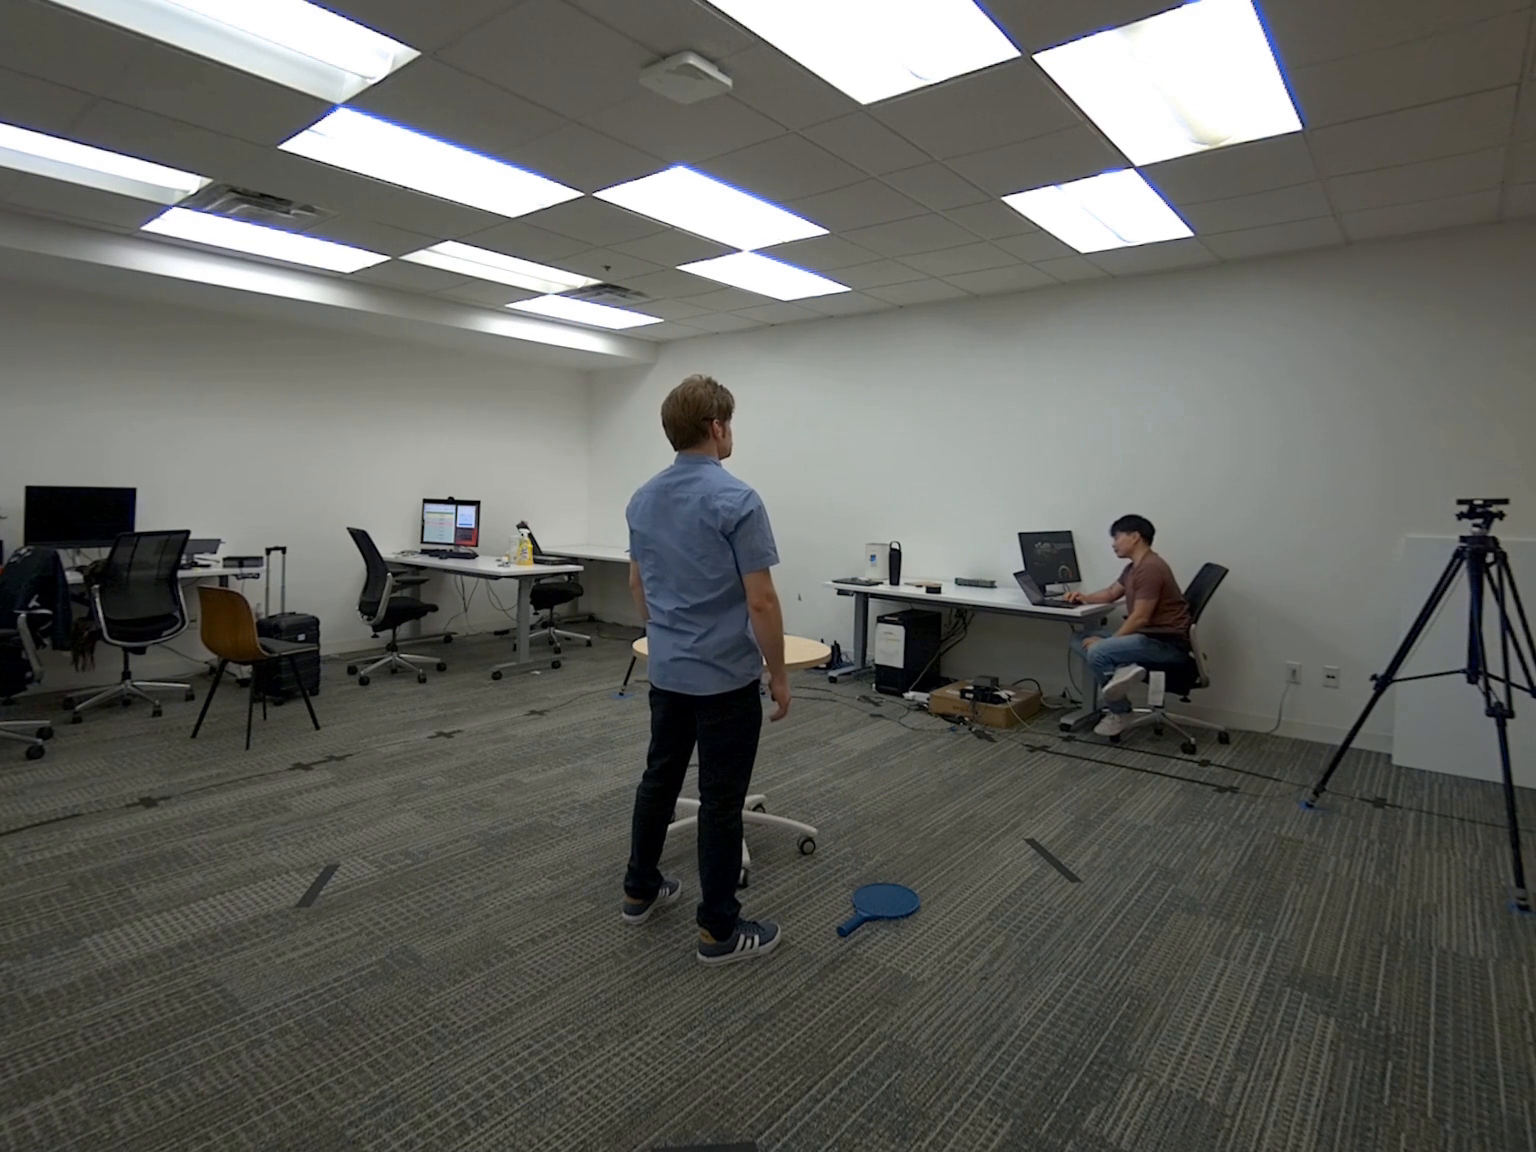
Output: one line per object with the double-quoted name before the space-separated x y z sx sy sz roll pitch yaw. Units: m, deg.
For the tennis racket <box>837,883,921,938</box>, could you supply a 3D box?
"tennis racket" 0.343 1.094 2.827 0.221 0.031 0.420 6 6 35
